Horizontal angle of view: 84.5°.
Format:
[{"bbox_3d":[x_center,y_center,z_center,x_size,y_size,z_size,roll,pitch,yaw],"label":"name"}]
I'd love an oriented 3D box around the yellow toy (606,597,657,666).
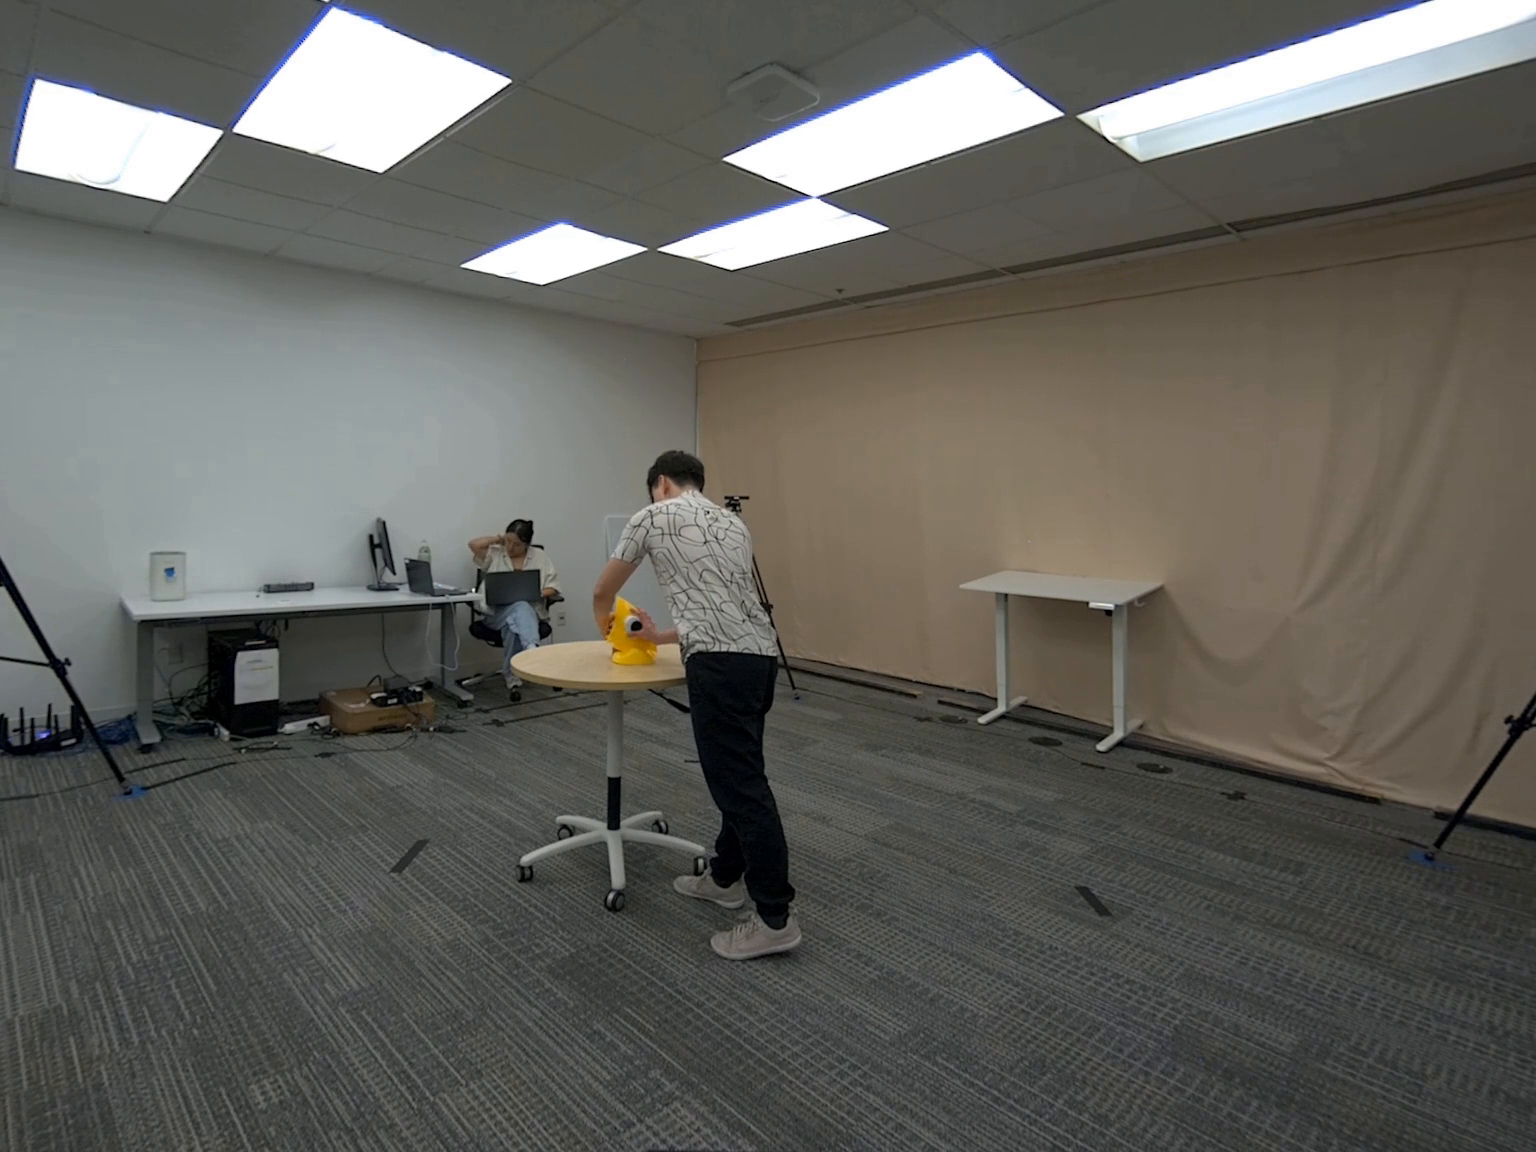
[{"bbox_3d":[-0.509,0.191,3.121,0.192,0.229,0.207,1,7,-8],"label":"yellow toy"}]
